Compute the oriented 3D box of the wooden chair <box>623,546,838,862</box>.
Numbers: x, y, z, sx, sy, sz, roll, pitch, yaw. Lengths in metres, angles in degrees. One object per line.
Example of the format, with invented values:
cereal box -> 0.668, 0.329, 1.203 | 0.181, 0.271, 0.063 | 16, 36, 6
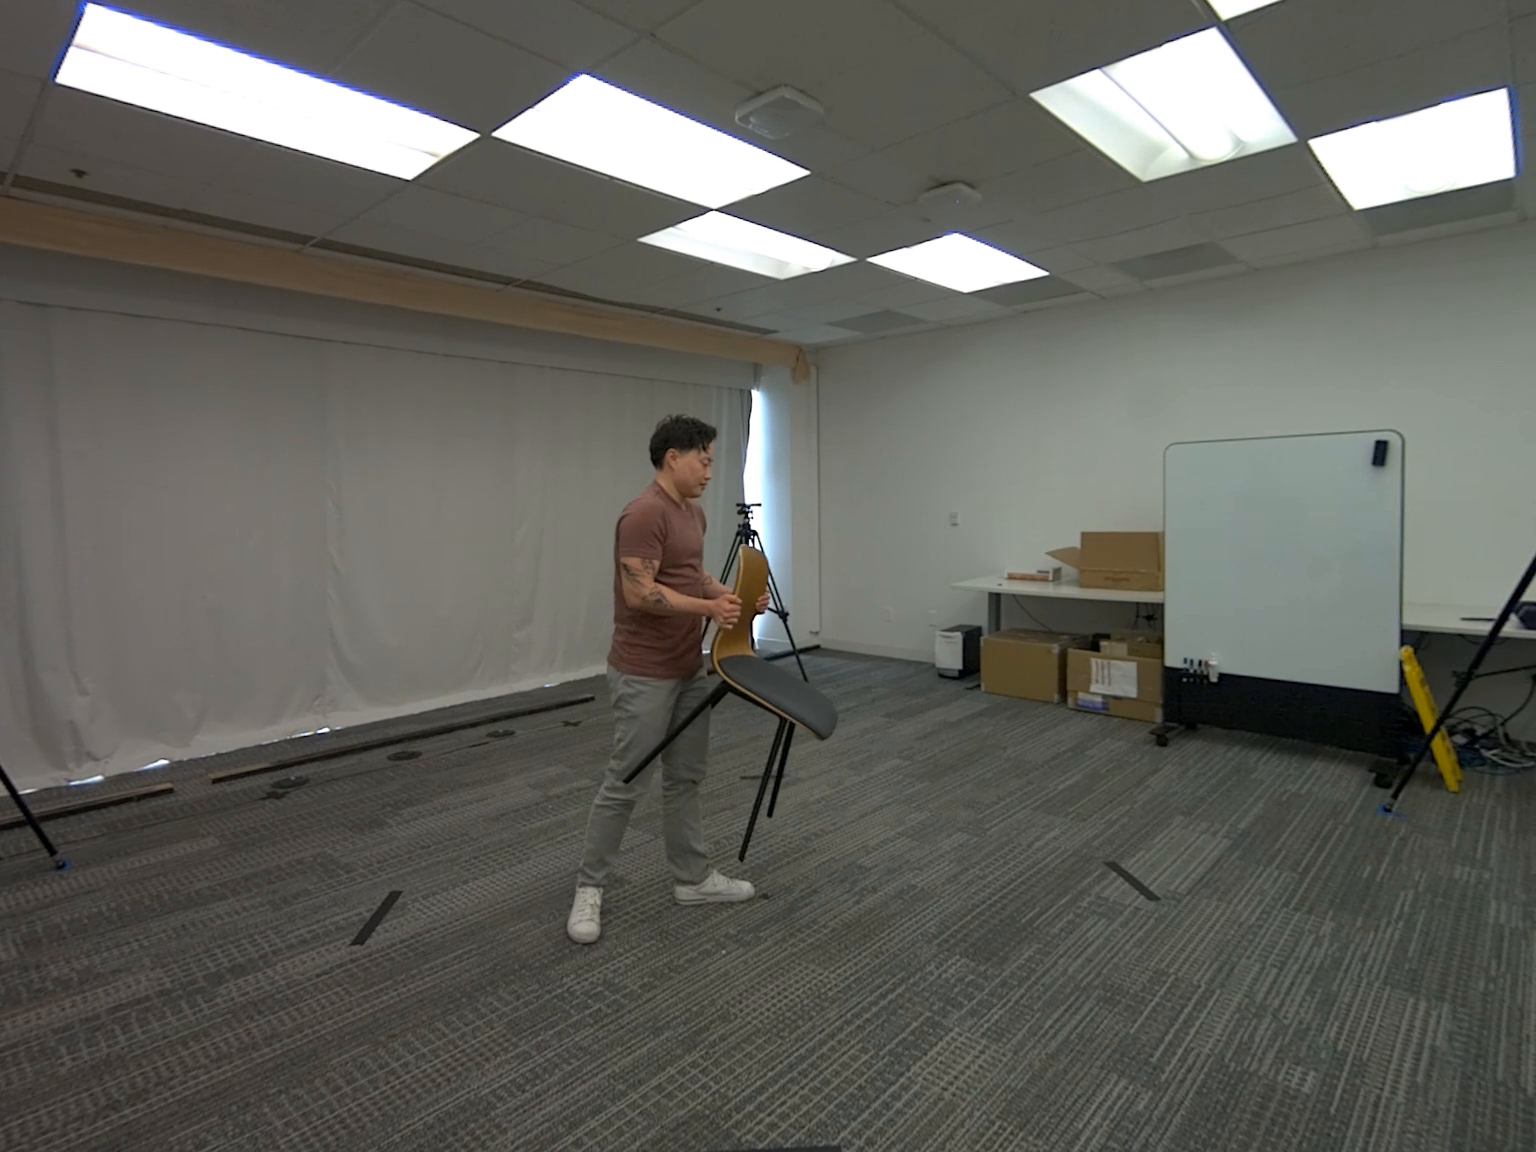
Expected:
wooden chair -> -0.013, 0.399, 2.799 | 0.532, 0.876, 0.470 | 24, 6, 13
